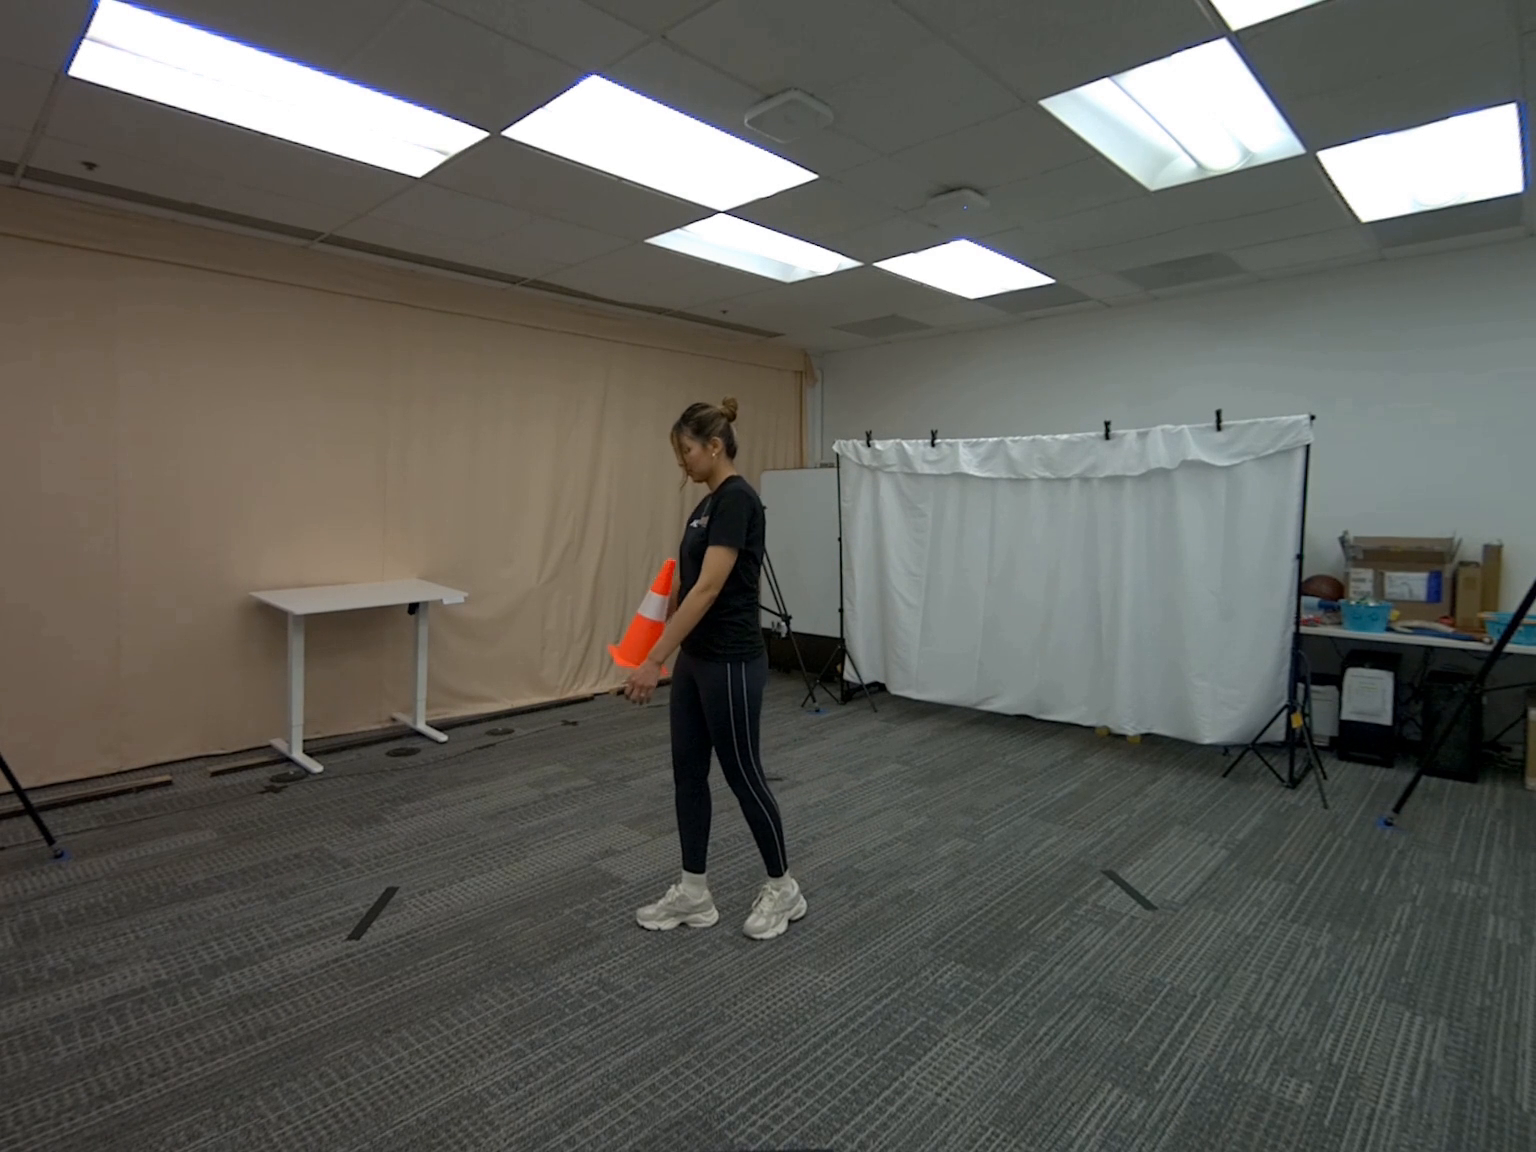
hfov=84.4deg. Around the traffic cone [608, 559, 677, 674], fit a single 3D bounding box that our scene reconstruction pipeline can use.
[{"bbox_3d":[-0.396,0.121,2.944,0.200,0.383,0.209,15,9,-14],"label":"traffic cone"}]
